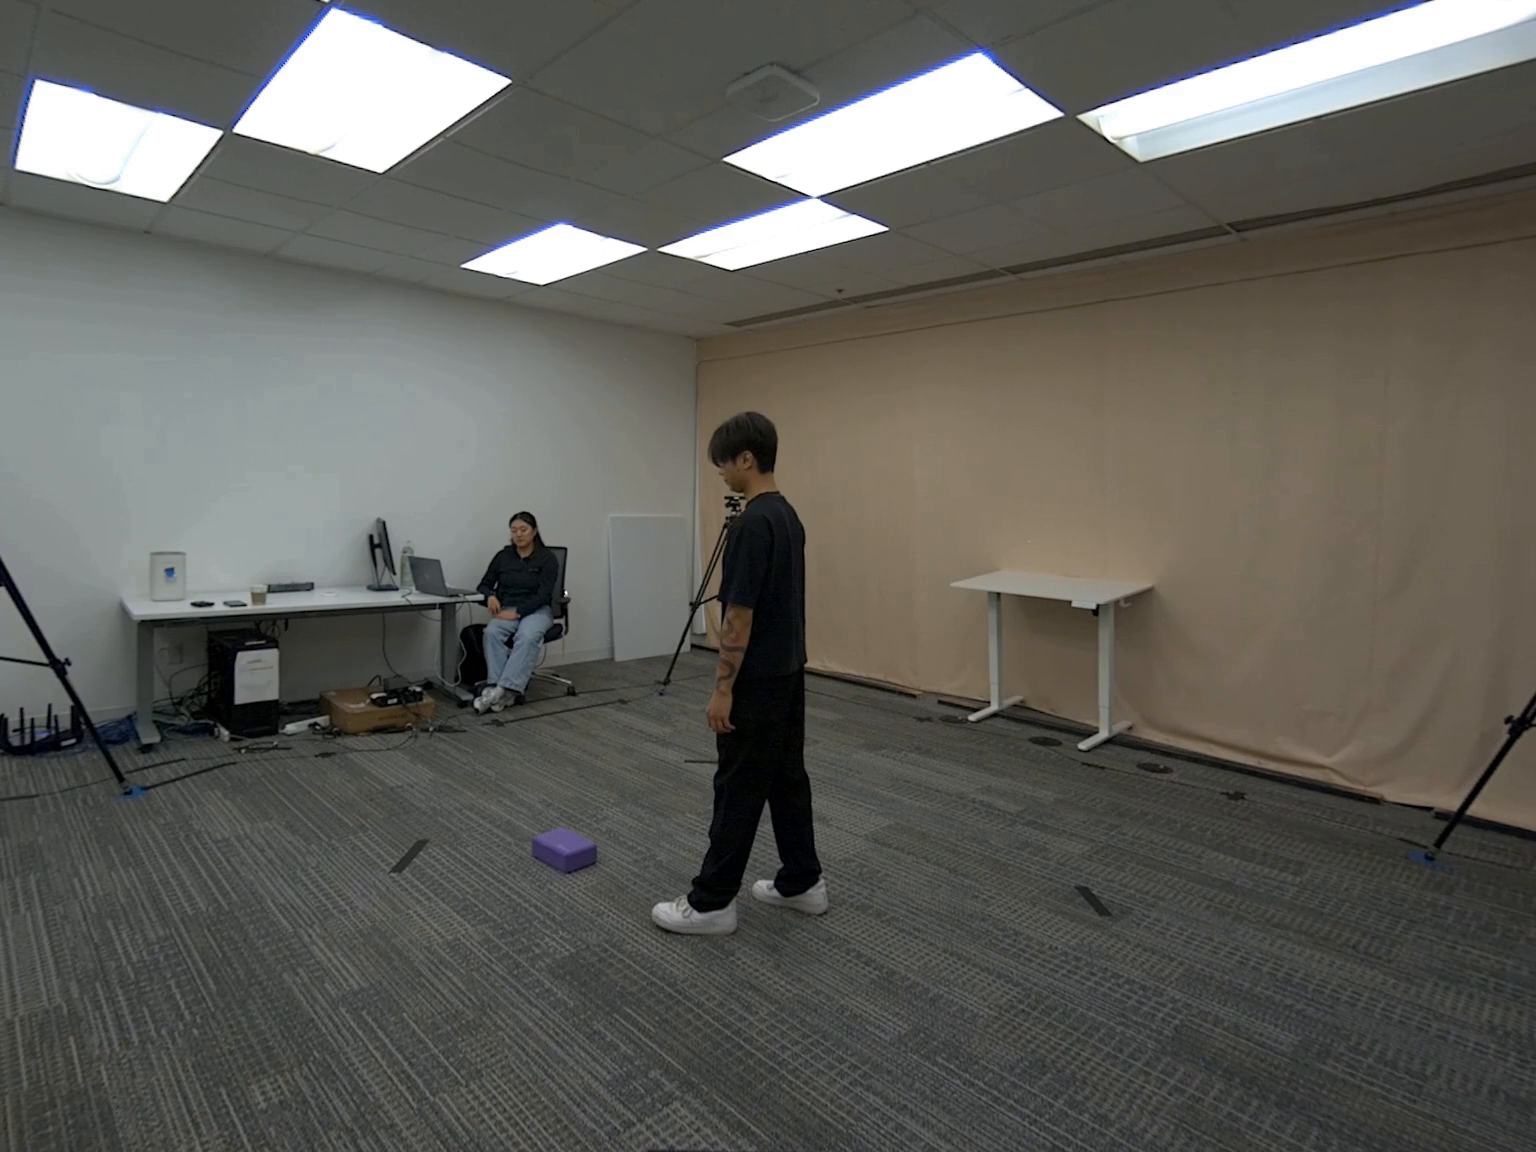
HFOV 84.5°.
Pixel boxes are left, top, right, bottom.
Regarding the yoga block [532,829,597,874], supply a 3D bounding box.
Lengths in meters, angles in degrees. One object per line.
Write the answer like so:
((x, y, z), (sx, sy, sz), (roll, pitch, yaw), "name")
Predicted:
((-0.784, 1.045, 3.201), (0.235, 0.076, 0.146), (6, 7, 42), "yoga block")
